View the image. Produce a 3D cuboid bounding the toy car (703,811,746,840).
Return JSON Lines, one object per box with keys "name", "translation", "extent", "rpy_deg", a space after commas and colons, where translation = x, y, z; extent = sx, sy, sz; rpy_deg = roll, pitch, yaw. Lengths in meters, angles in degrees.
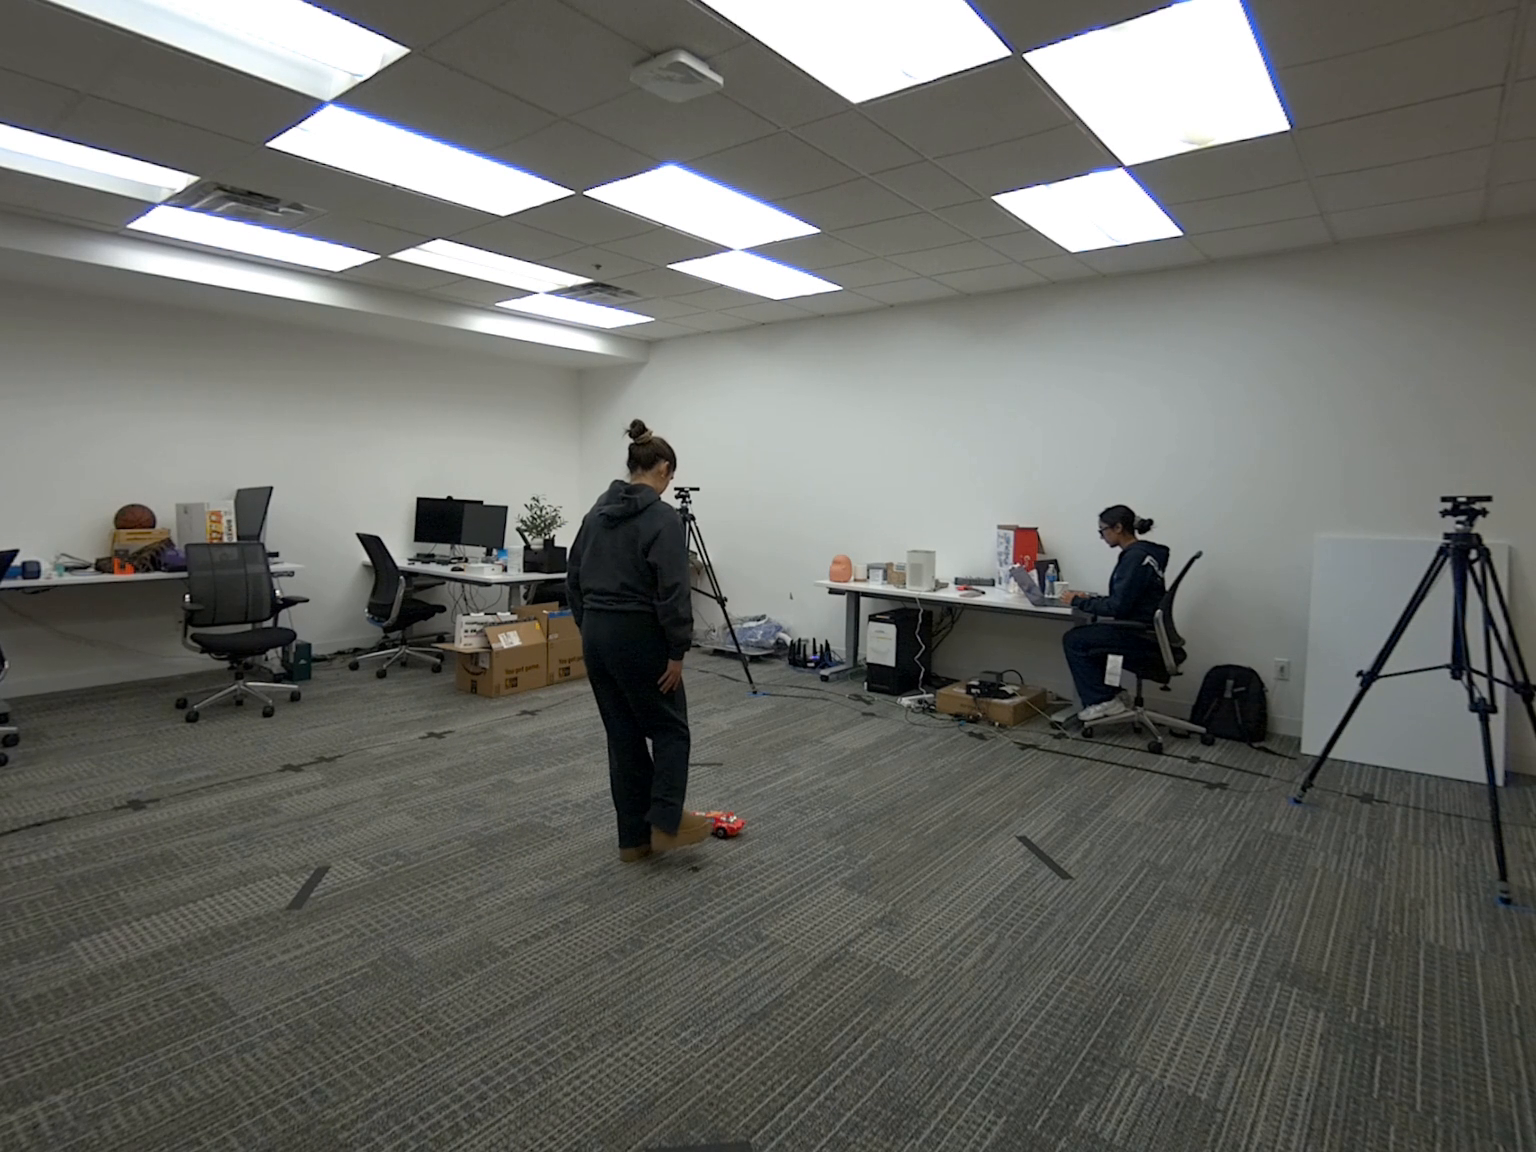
{"name": "toy car", "translation": [-0.215, 1.003, 3.448], "extent": [0.260, 0.083, 0.127], "rpy_deg": [-8, 0, 25]}
